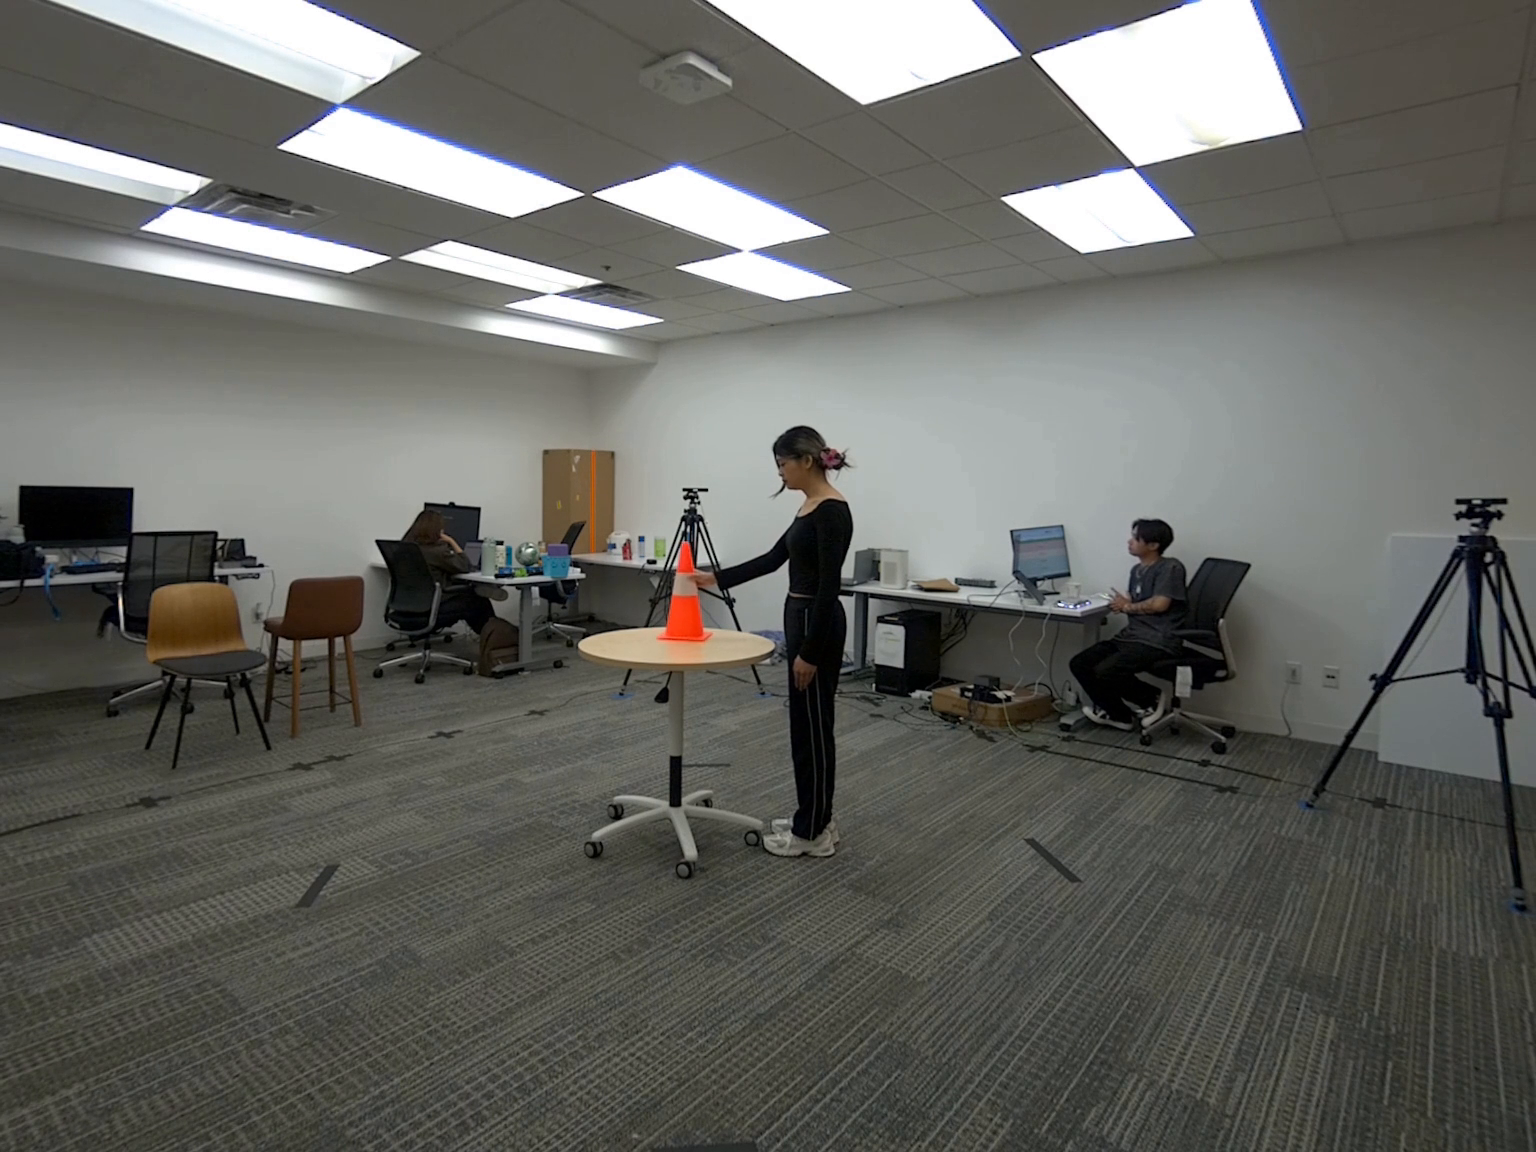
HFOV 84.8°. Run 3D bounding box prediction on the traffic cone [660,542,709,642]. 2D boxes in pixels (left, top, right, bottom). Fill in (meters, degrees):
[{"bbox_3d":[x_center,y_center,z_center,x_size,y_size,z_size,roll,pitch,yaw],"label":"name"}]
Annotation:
[{"bbox_3d":[-0.346,0.051,3.475,0.206,0.383,0.203,3,2,10],"label":"traffic cone"}]
